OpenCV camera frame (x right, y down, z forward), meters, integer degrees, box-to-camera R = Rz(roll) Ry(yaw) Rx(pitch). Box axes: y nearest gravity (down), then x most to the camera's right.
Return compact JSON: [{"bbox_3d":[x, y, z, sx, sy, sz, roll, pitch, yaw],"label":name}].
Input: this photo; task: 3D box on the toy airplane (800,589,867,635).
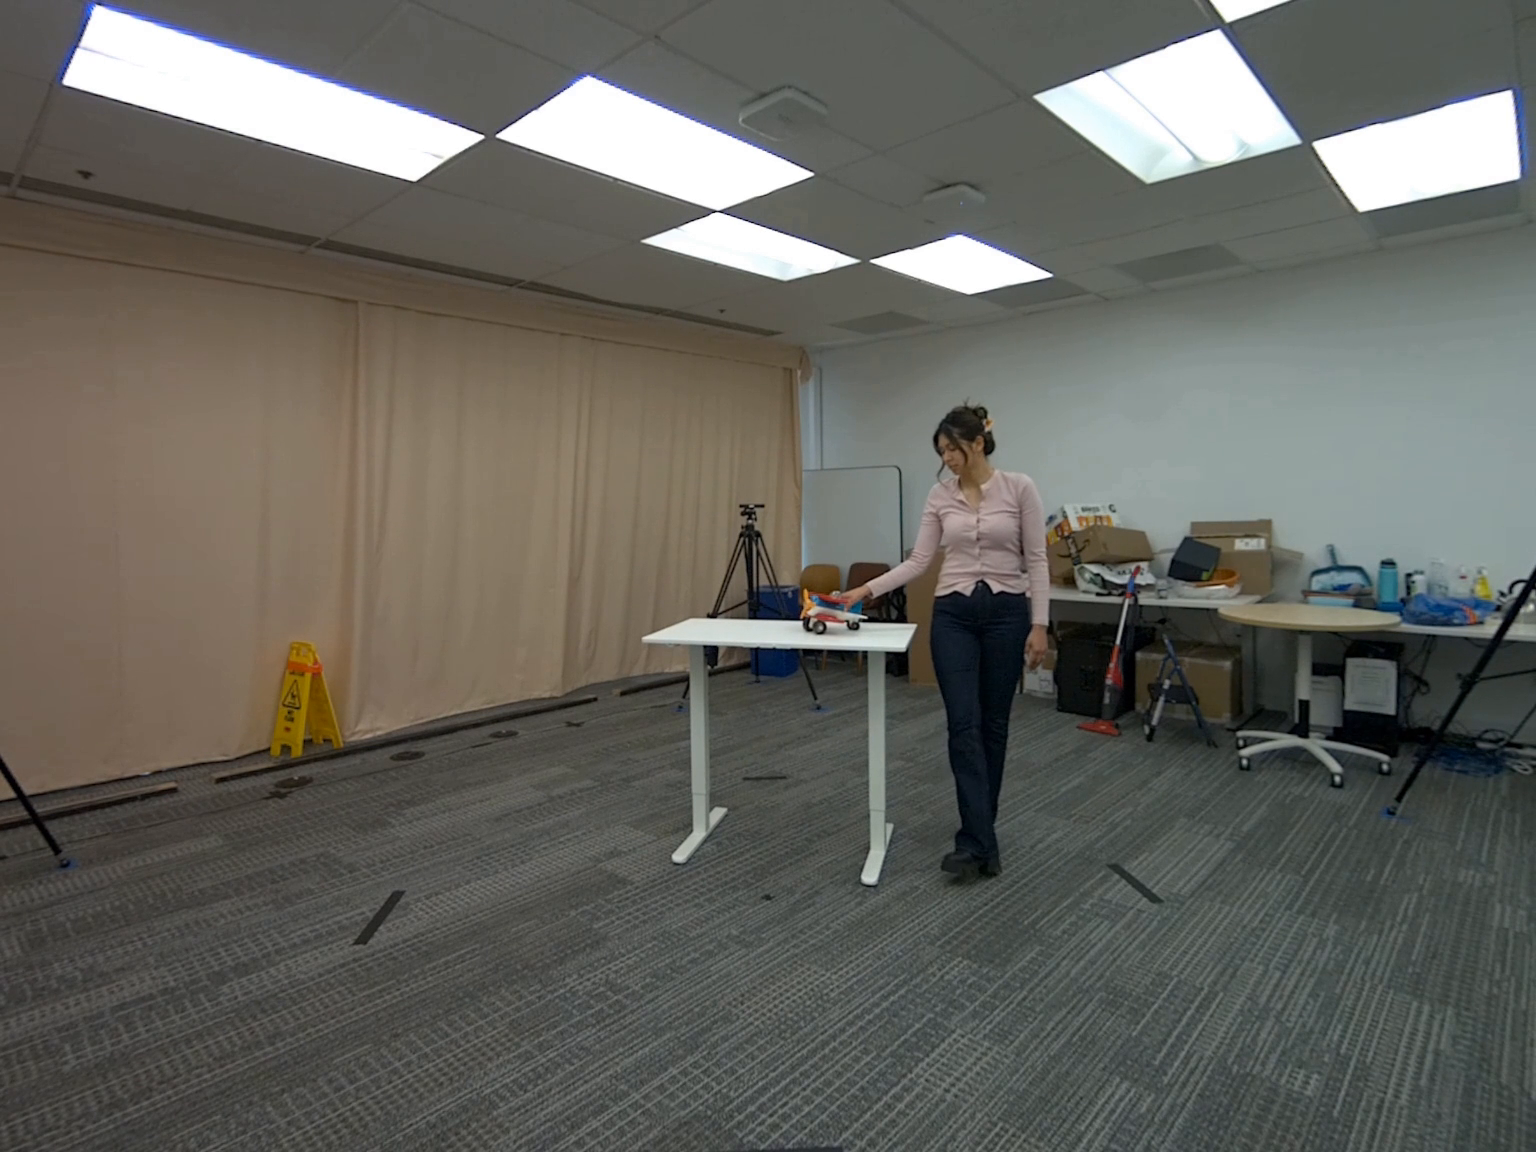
[{"bbox_3d":[0.262,0.146,3.379,0.259,0.156,0.252,4,8,40],"label":"toy airplane"}]
